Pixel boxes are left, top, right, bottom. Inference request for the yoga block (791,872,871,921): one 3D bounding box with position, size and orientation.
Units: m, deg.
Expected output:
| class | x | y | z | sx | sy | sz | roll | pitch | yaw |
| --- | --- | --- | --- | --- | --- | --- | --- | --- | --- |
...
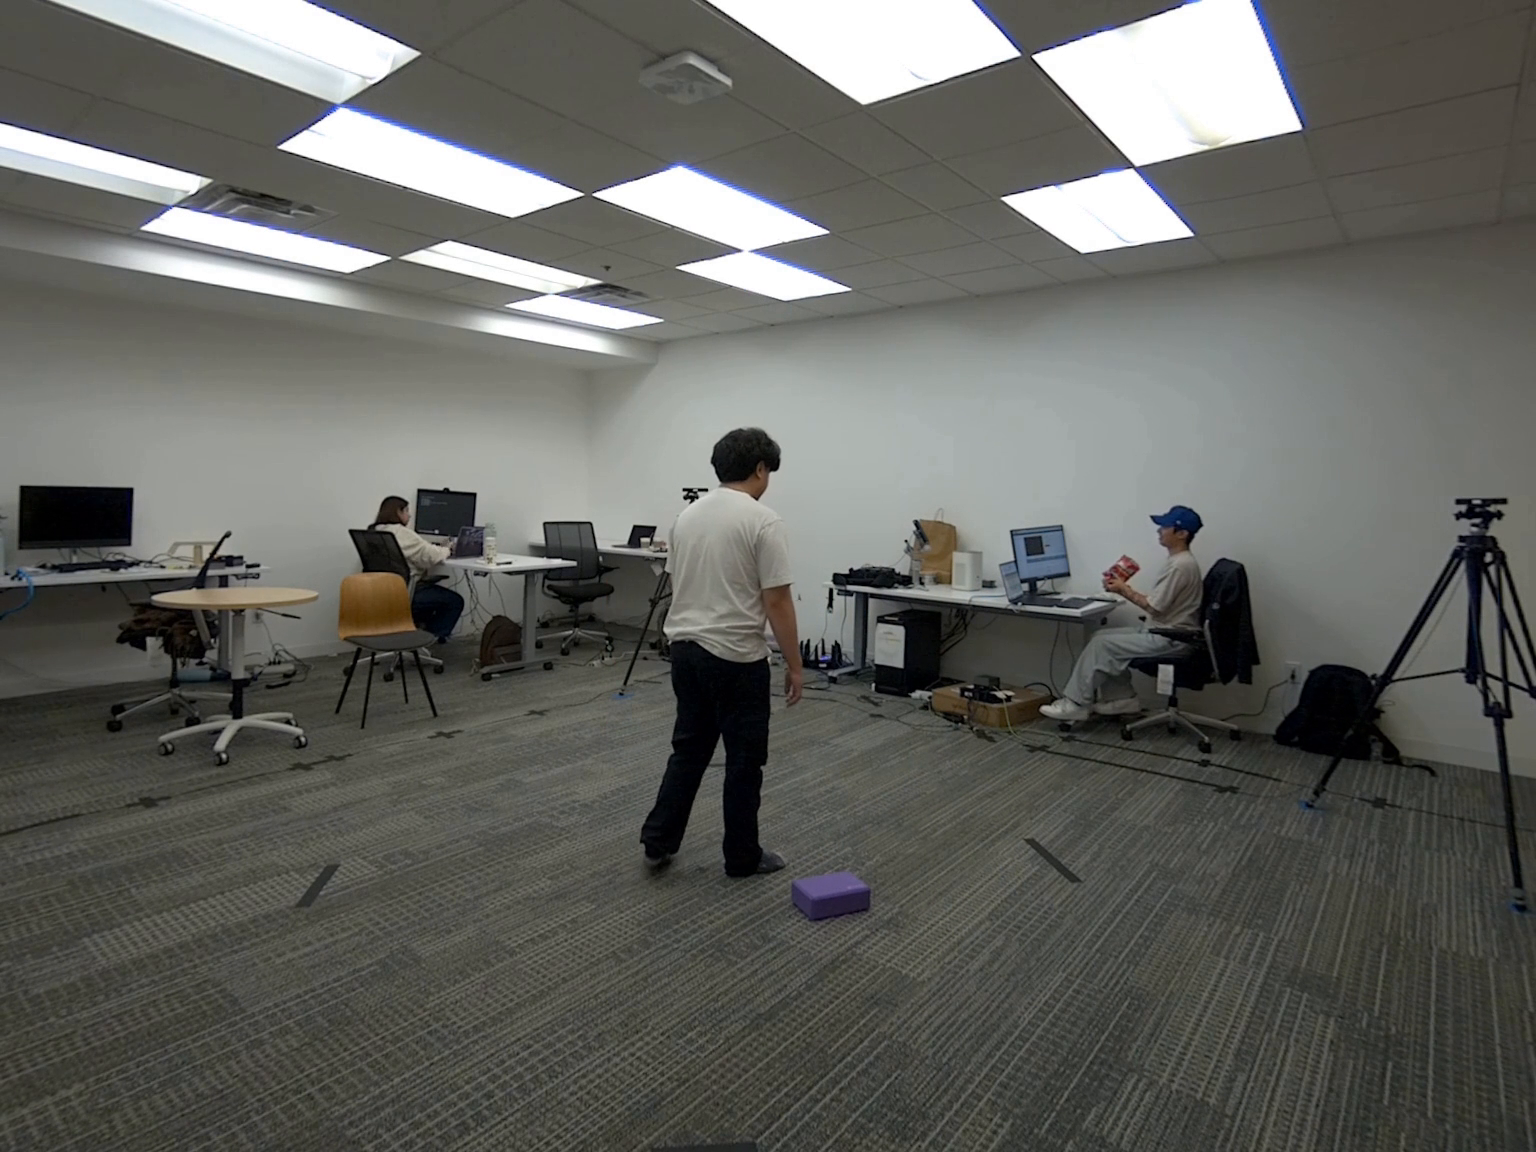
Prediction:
| class | x | y | z | sx | sy | sz | roll | pitch | yaw |
| --- | --- | --- | --- | --- | --- | --- | --- | --- | --- |
| yoga block | 0.205 | 1.063 | 2.852 | 0.224 | 0.076 | 0.153 | 0 | 5 | -24 |
